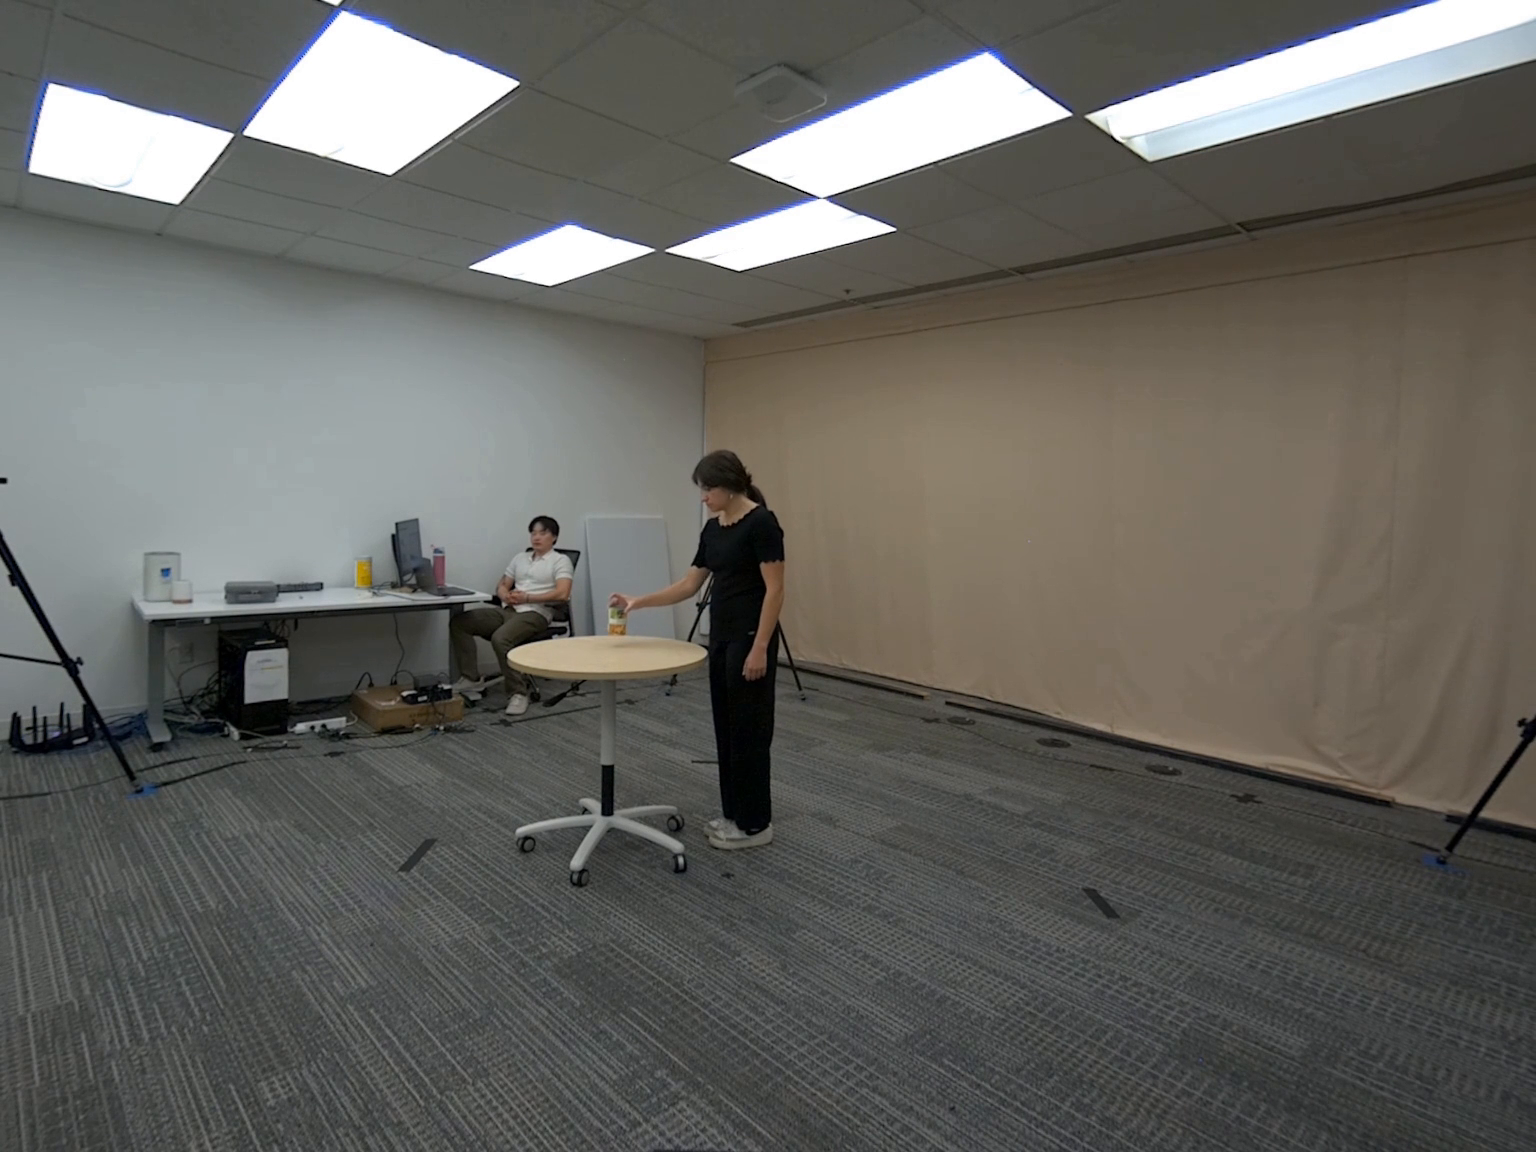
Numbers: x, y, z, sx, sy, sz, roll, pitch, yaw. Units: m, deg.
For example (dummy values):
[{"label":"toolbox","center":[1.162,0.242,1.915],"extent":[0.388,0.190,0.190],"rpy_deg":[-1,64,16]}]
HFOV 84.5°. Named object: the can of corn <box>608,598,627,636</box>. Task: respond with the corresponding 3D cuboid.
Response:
[{"label":"can of corn","center":[-0.610,0.185,3.394],"extent":[0.074,0.111,0.074],"rpy_deg":[4,2,-2]}]
